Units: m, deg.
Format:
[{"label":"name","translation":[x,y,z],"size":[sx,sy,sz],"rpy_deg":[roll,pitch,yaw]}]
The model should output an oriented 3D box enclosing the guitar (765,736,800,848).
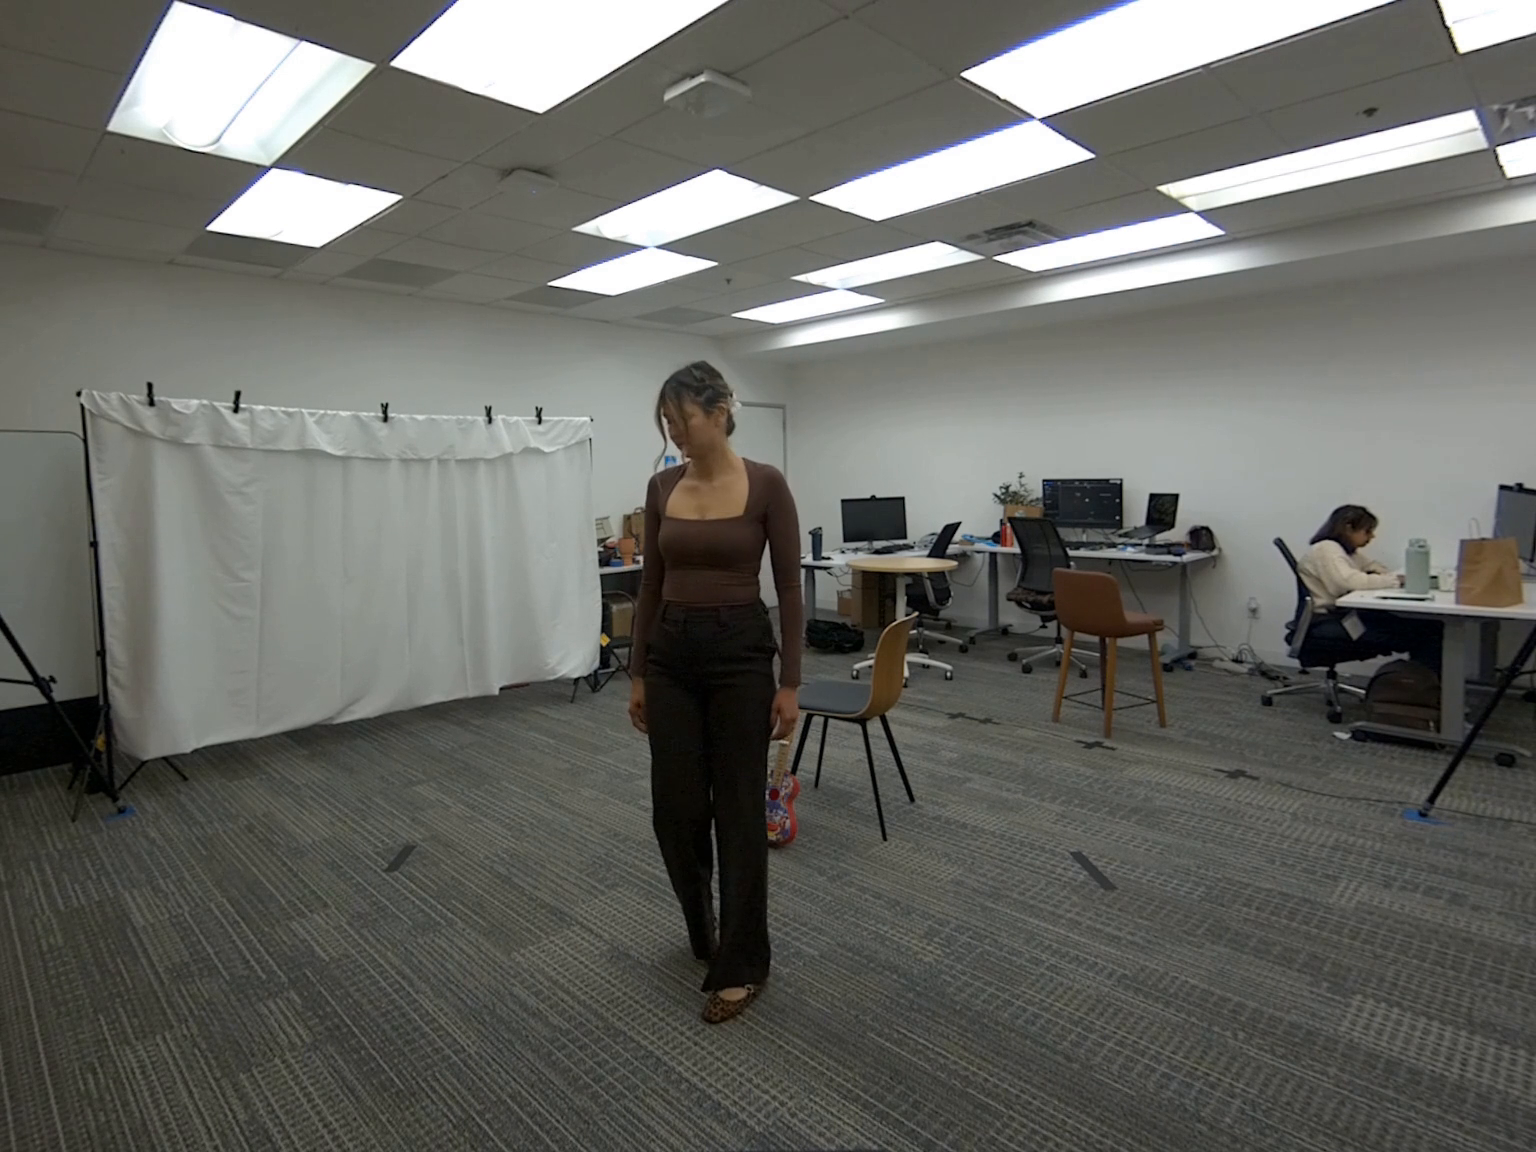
[{"label":"guitar","translation":[0.072,0.790,3.314],"size":[0.199,0.502,0.068],"rpy_deg":[8,-18,34]}]
